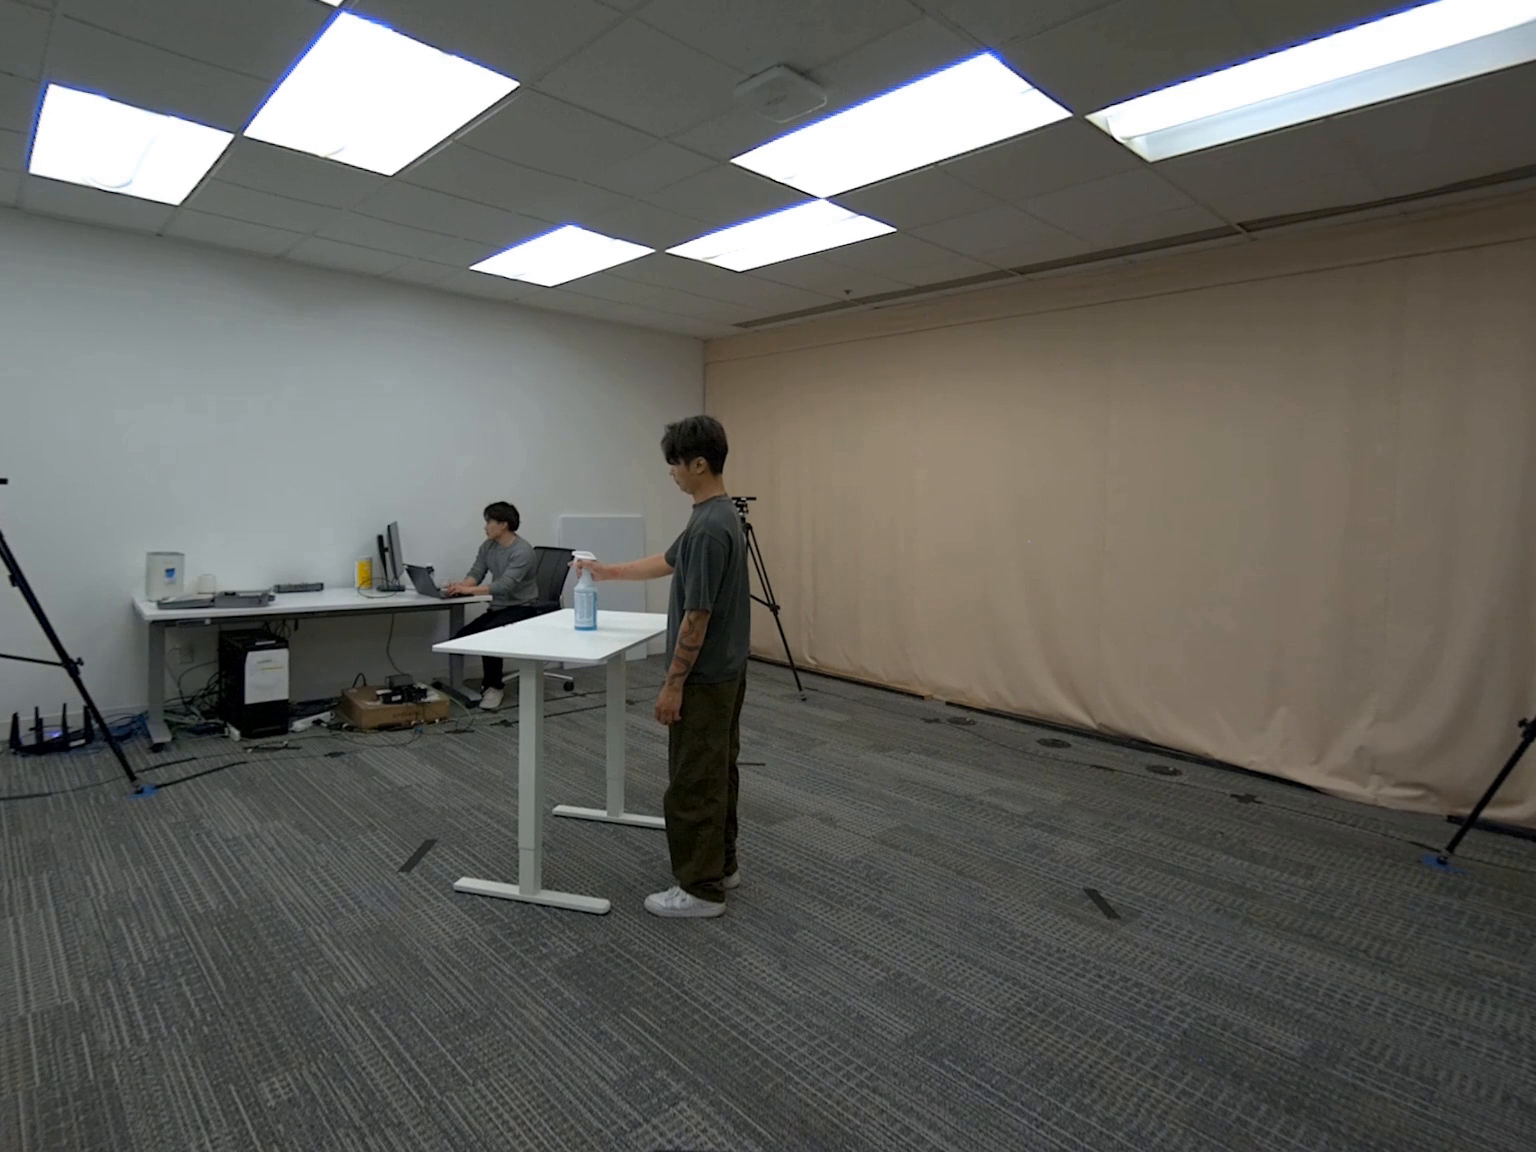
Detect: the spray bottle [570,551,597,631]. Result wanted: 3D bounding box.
[{"bbox_3d":[-0.700,0.061,3.200,0.092,0.296,0.086,-1,6,27],"label":"spray bottle"}]
